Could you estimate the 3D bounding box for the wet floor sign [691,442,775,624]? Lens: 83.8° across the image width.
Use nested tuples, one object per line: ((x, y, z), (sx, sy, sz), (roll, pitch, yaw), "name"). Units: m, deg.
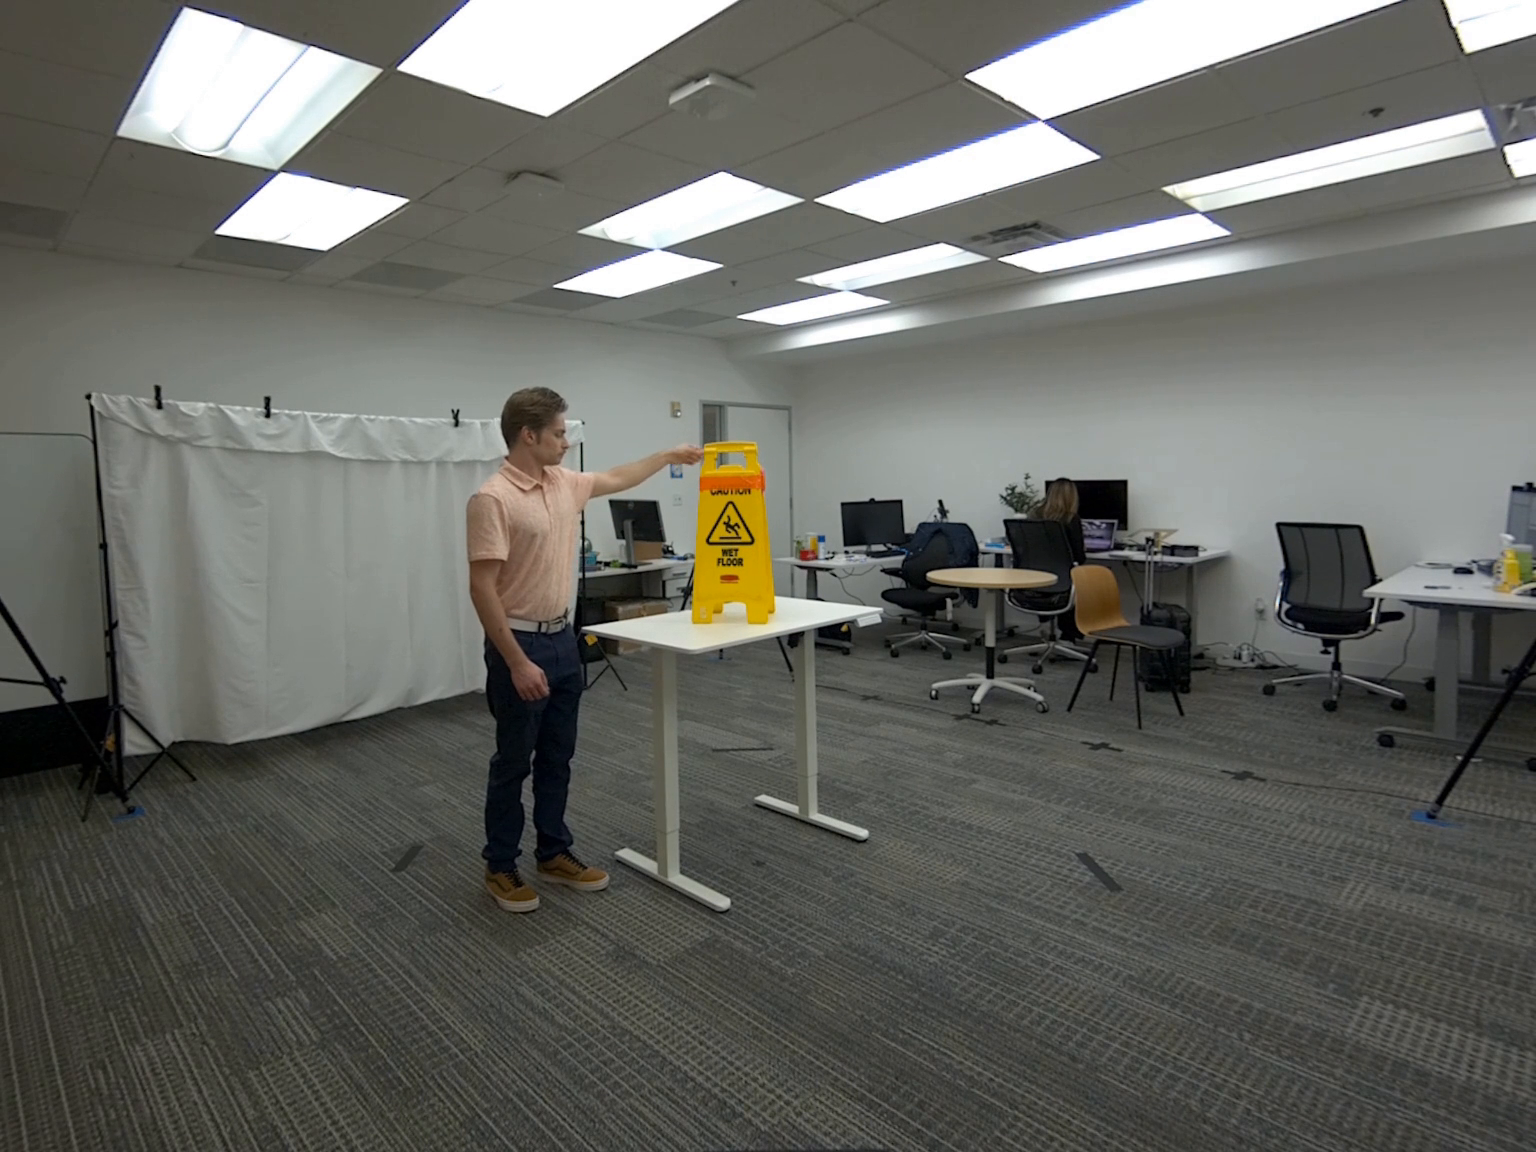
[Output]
((-0.134, -0.163, 3.155), (0.284, 0.643, 0.289), (0, 5, 6), "wet floor sign")
